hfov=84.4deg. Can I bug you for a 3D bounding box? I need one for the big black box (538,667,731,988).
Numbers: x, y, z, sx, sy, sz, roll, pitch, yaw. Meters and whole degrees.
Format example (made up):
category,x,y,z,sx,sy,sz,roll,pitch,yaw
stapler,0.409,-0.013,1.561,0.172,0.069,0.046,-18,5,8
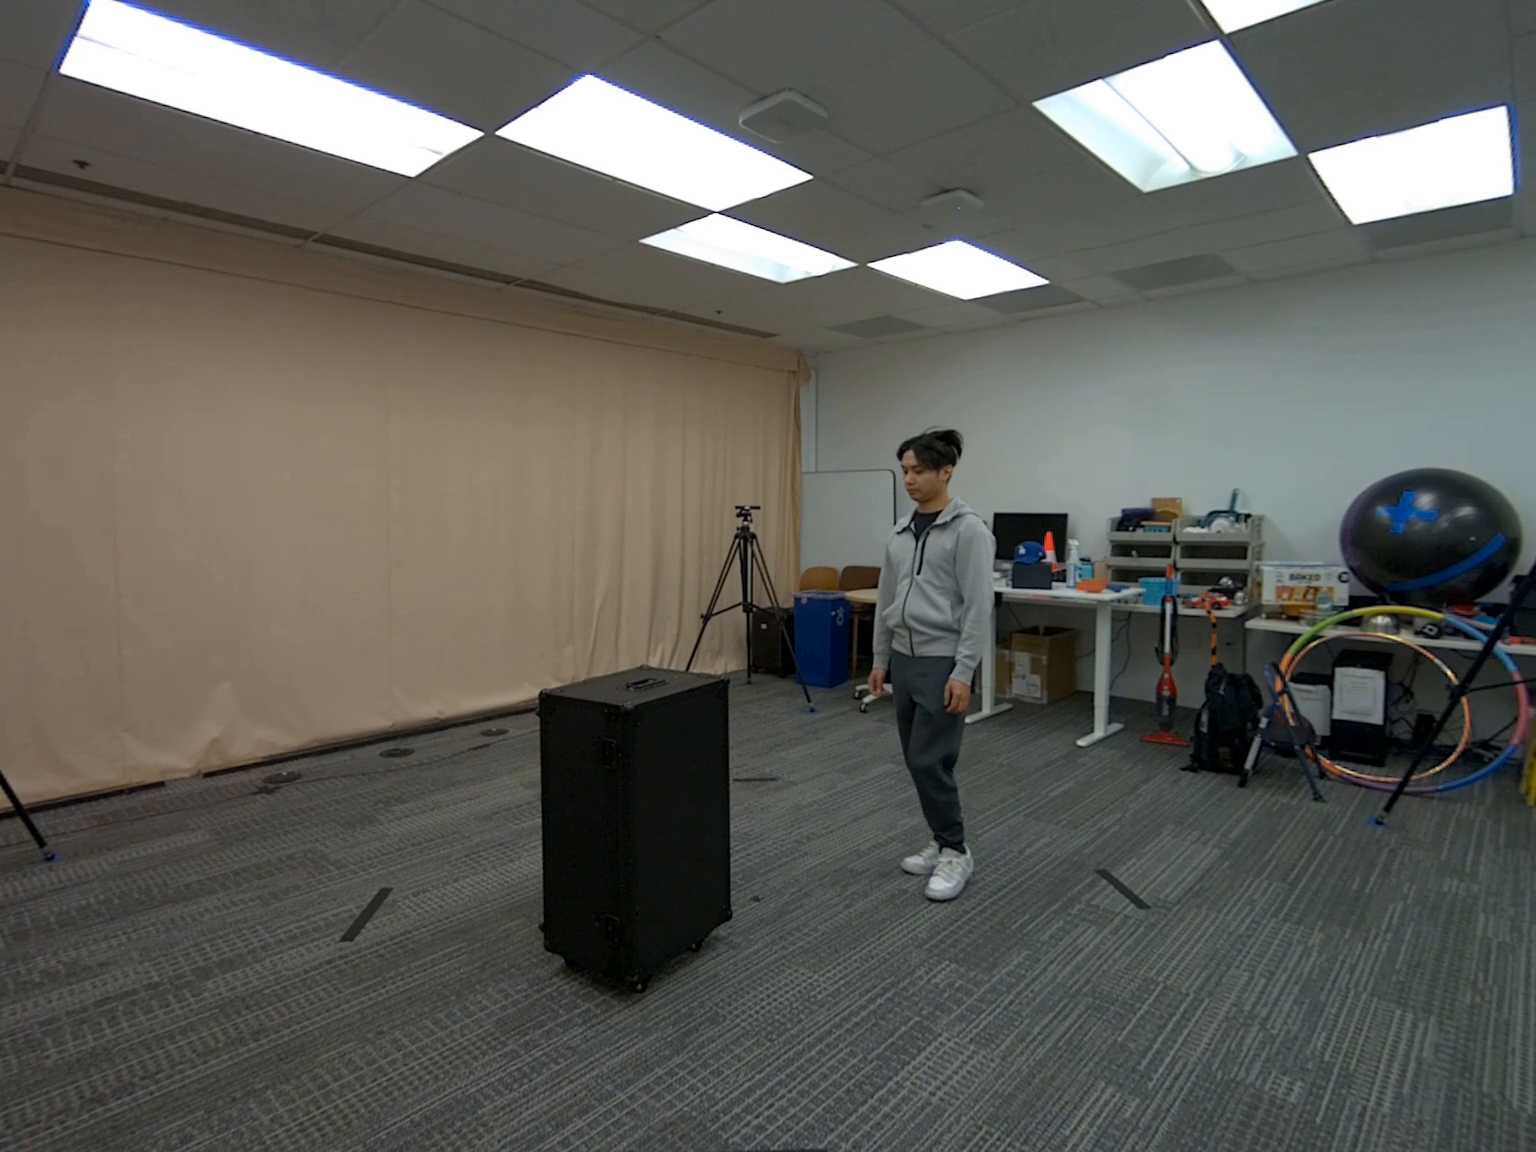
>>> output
category,x,y,z,sx,sy,sz,roll,pitch,yaw
big black box,-0.407,0.755,2.588,0.408,0.860,0.506,1,3,34
